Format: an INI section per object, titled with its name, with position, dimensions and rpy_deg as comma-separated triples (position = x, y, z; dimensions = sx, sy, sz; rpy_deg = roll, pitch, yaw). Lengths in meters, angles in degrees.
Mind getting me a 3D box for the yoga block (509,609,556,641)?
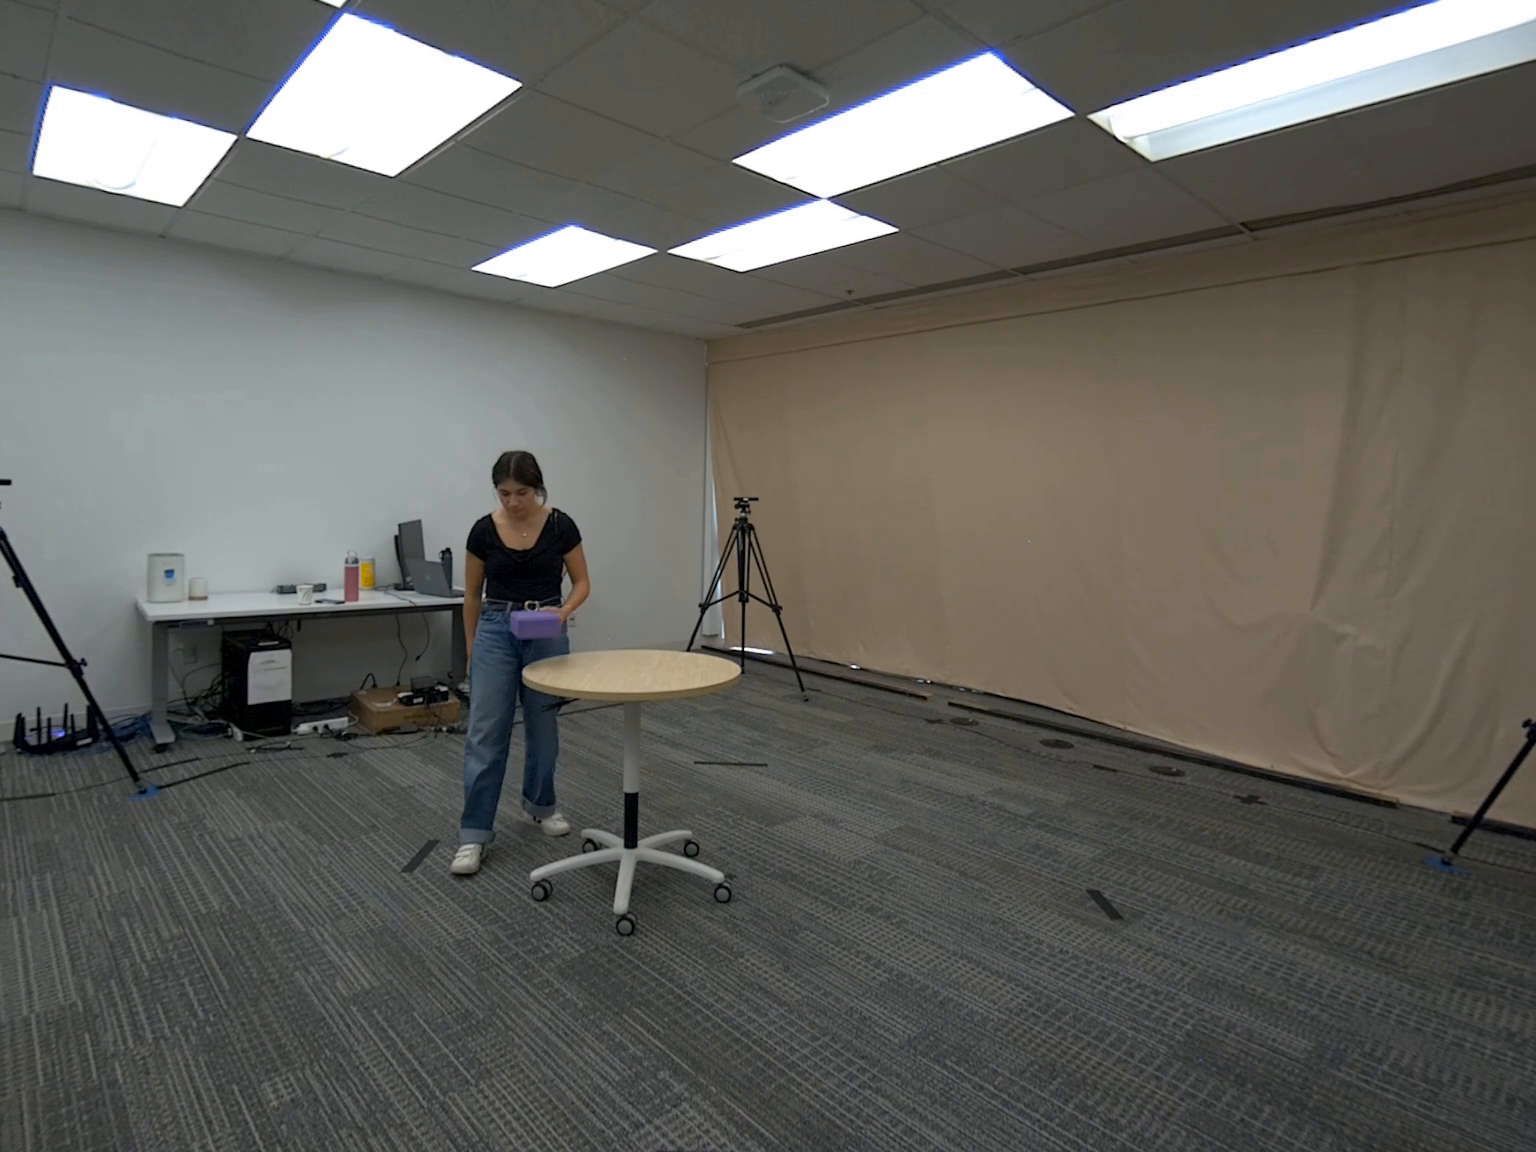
[yoga block]
position = -0.871, 0.184, 3.035
dimensions = 0.147, 0.076, 0.232
rpy_deg = 1, 3, -16
